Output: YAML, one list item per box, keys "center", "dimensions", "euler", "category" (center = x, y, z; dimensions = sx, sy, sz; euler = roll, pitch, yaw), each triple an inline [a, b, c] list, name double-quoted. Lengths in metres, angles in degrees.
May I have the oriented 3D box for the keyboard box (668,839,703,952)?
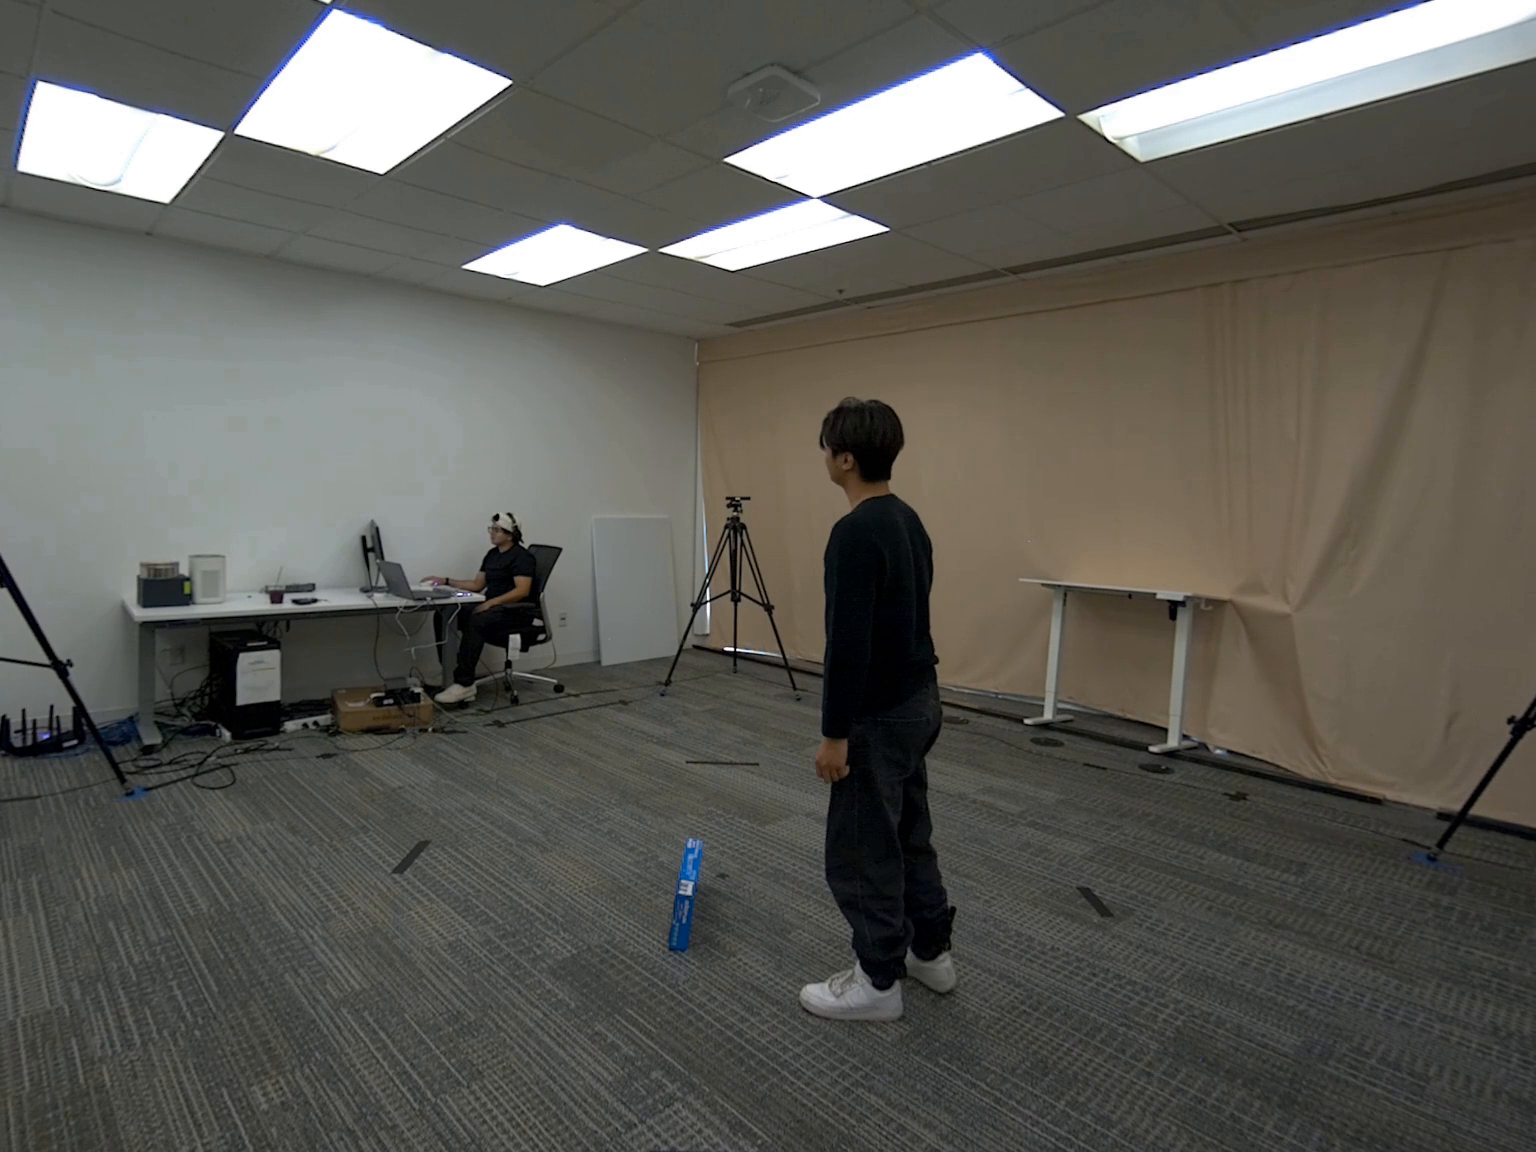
- center: [-0.276, 1.045, 2.790]
  dimensions: [0.059, 0.175, 0.437]
  euler: [7, 4, -1]
  category: "keyboard box"
